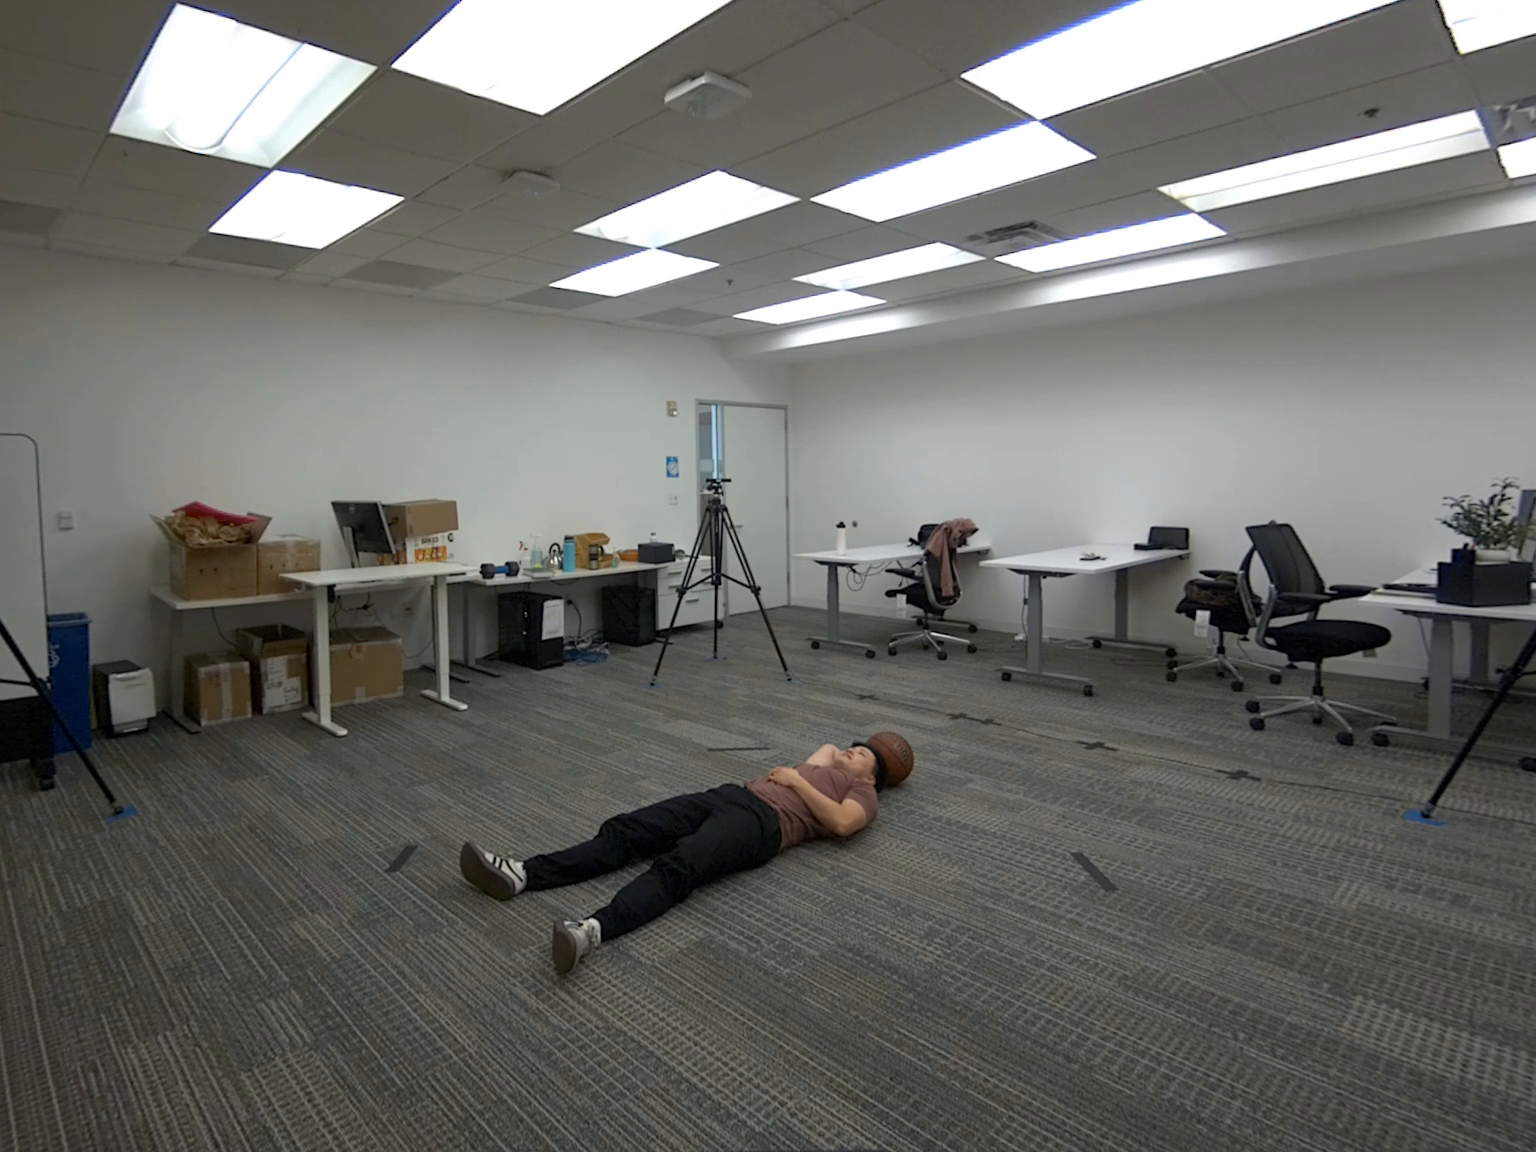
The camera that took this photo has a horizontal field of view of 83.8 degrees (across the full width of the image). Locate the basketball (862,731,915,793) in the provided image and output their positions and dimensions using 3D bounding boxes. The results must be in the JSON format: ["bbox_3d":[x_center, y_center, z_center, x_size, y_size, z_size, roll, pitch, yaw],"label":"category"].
[{"bbox_3d":[0.537,0.822,3.886,0.236,0.235,0.237,-2,5,-2],"label":"basketball"}]
